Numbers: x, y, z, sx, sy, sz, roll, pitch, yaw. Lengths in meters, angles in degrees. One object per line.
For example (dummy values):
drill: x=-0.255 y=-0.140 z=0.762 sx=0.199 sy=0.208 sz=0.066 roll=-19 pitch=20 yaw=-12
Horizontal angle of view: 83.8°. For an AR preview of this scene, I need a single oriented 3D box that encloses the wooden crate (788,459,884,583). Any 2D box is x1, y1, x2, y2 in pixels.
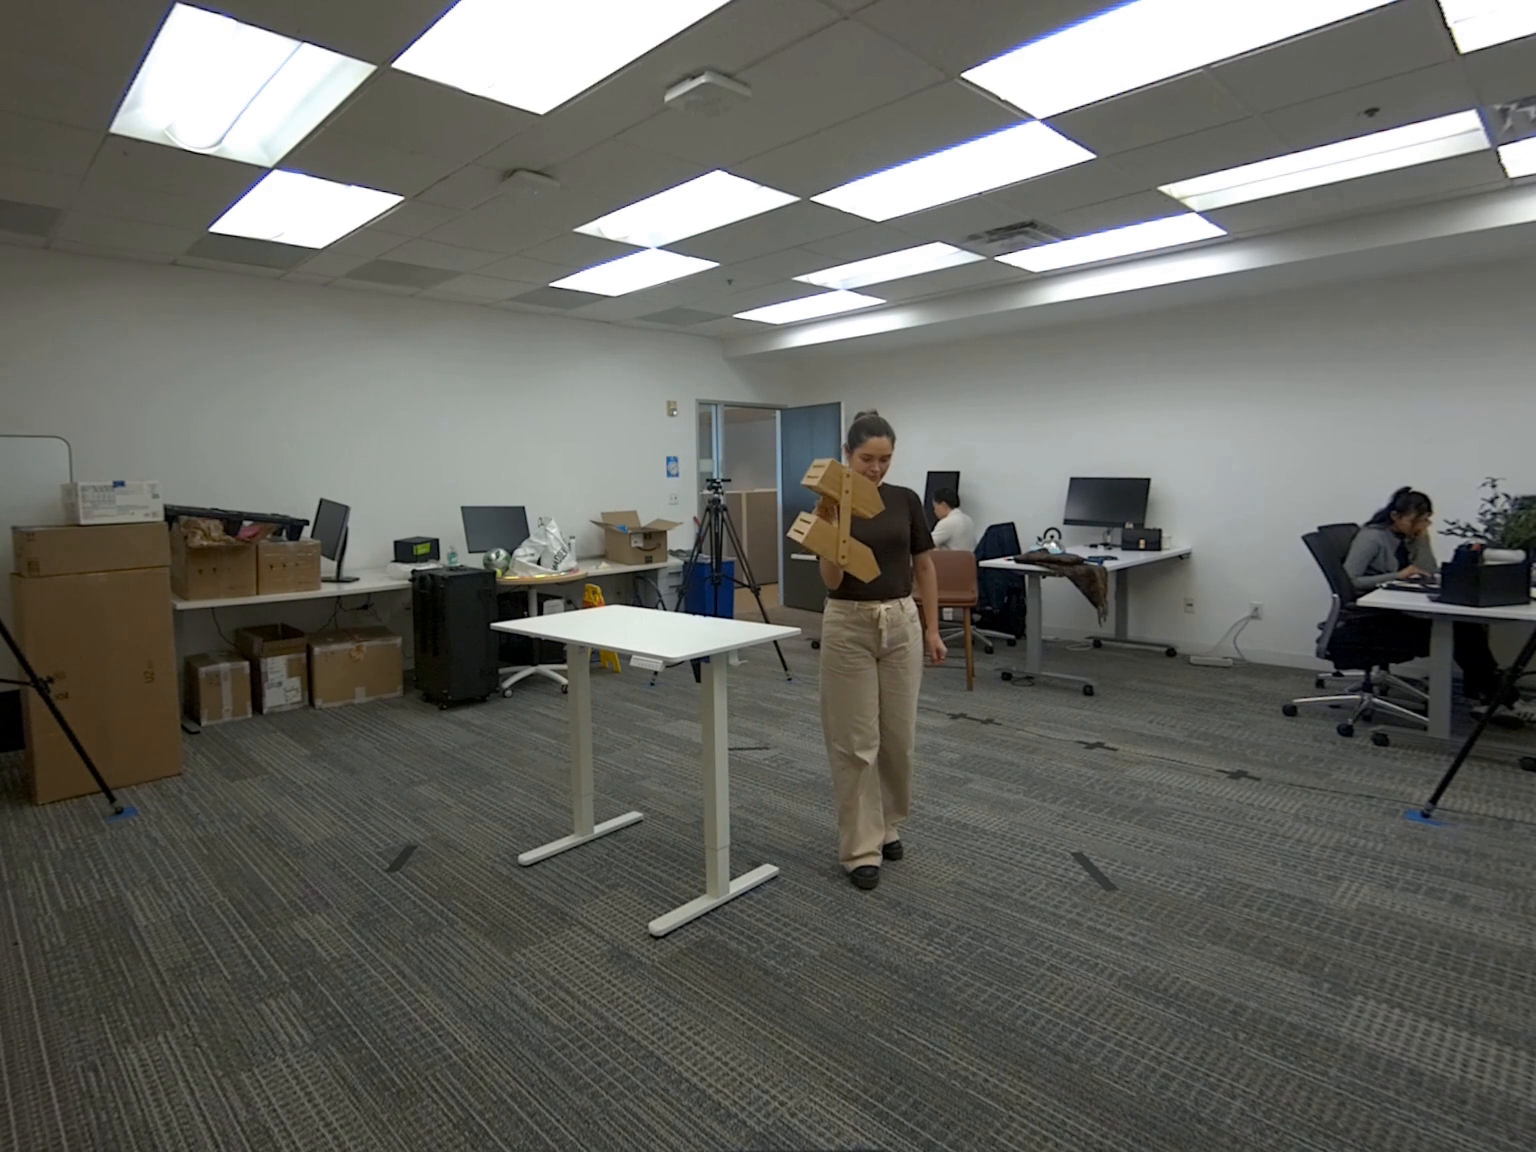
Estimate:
wooden crate: x=0.248 y=-0.173 z=2.656 sx=0.299 sy=0.273 sz=0.328 roll=31 pitch=2 yaw=-10
